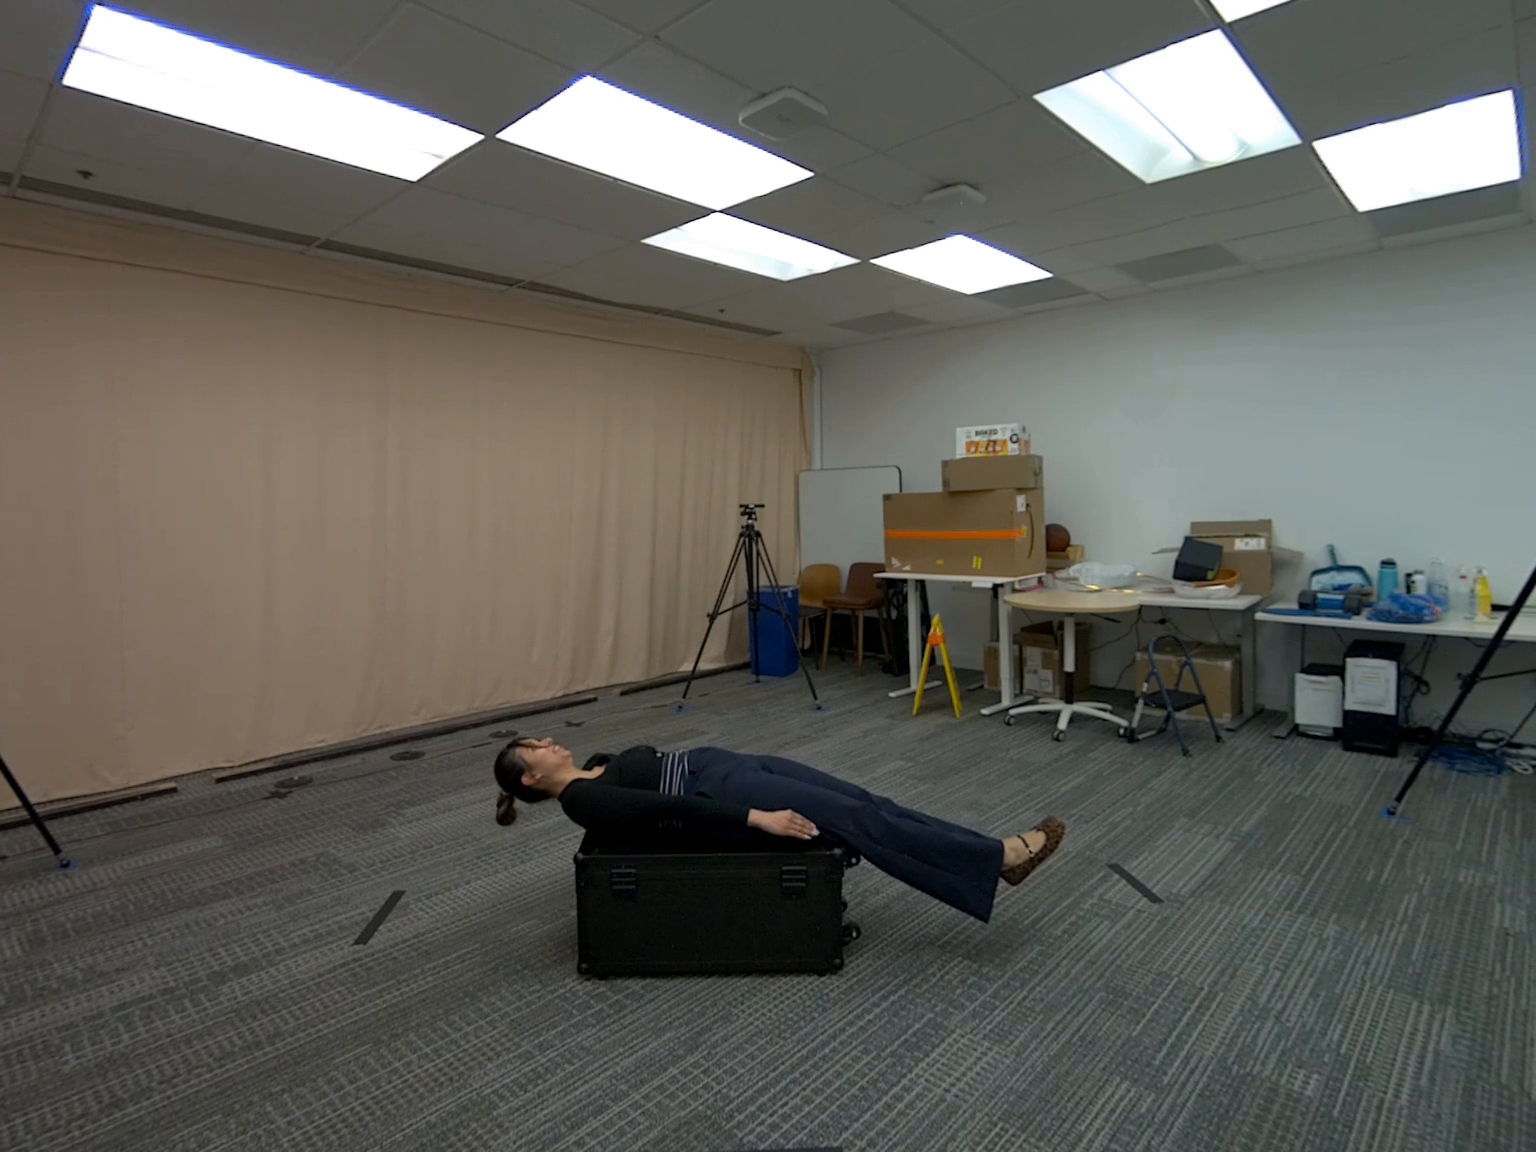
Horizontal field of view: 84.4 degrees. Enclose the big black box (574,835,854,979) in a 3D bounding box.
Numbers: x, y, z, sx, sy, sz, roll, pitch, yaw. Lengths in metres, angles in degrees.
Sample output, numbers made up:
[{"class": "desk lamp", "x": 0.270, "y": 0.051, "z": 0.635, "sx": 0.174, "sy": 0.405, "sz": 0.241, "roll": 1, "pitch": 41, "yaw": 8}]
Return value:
[{"class": "big black box", "x": -0.149, "y": 0.970, "z": 2.698, "sx": 0.861, "sy": 0.395, "sz": 0.523, "roll": -2, "pitch": 3, "yaw": -1}]
